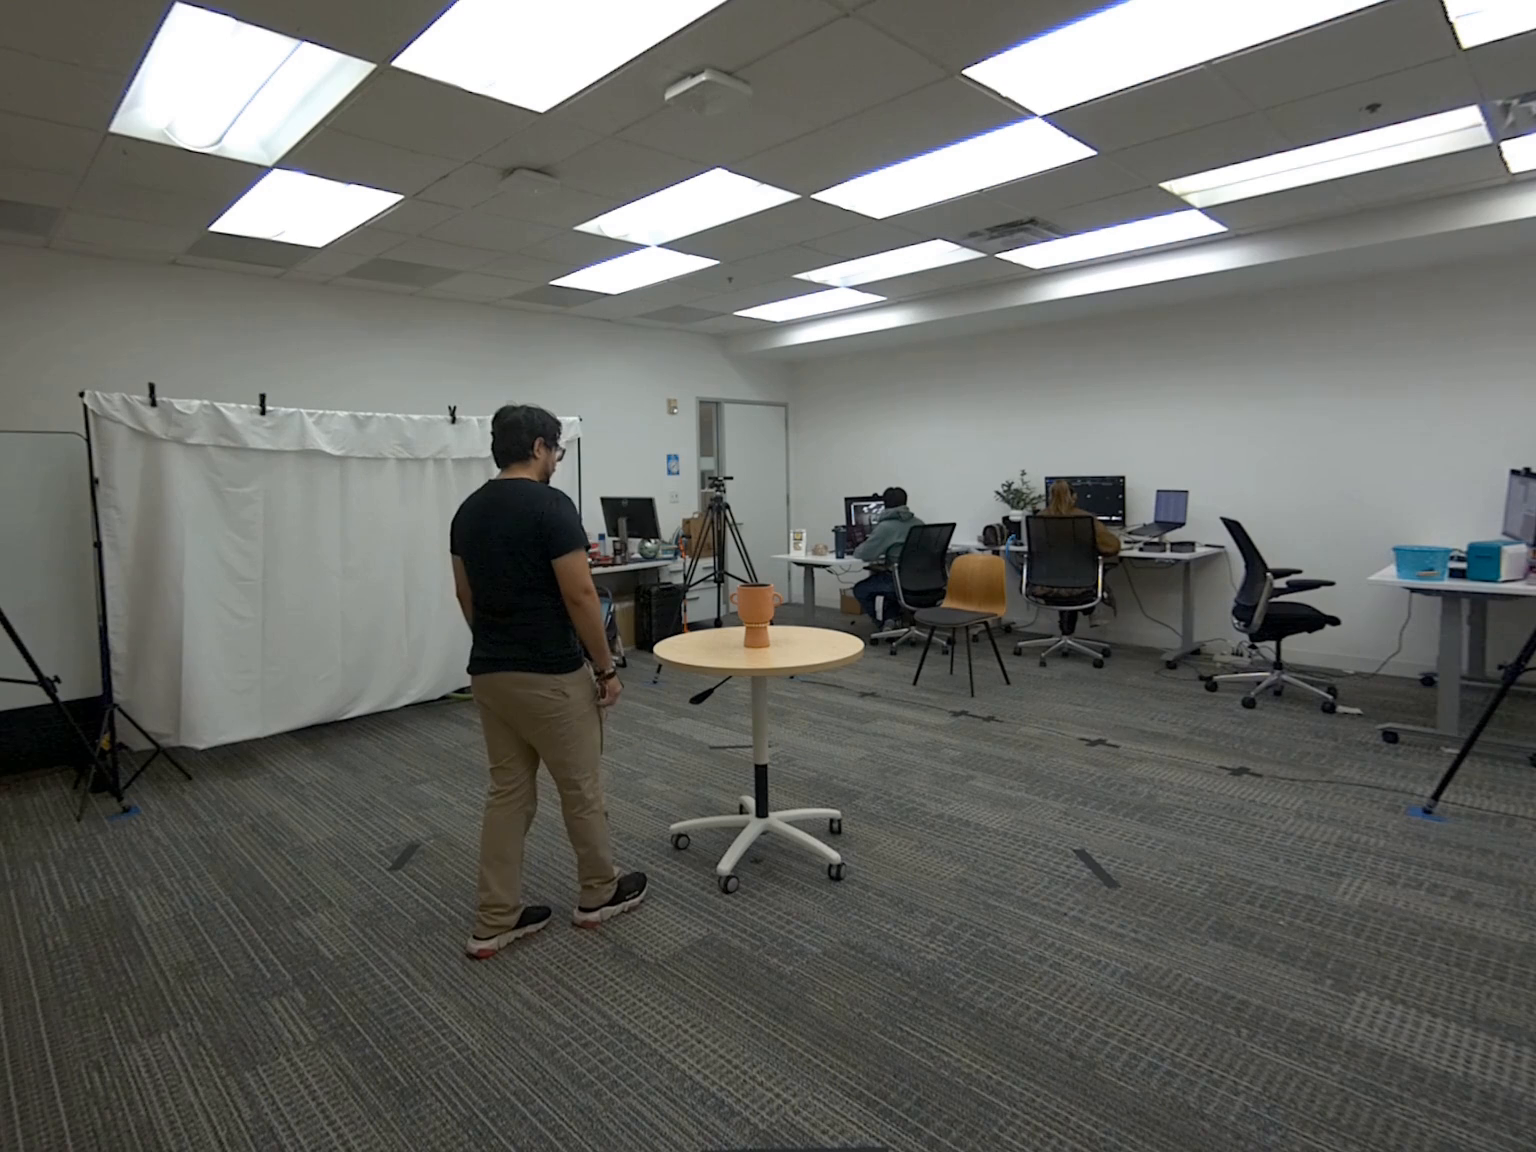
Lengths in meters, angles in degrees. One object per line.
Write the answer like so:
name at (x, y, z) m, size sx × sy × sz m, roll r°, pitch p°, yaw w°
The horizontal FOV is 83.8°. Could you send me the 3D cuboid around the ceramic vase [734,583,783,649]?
ceramic vase at (-0.039, 0.144, 3.101) m, size 0.131 × 0.219 × 0.163 m, roll -4°, pitch 6°, yaw -34°
